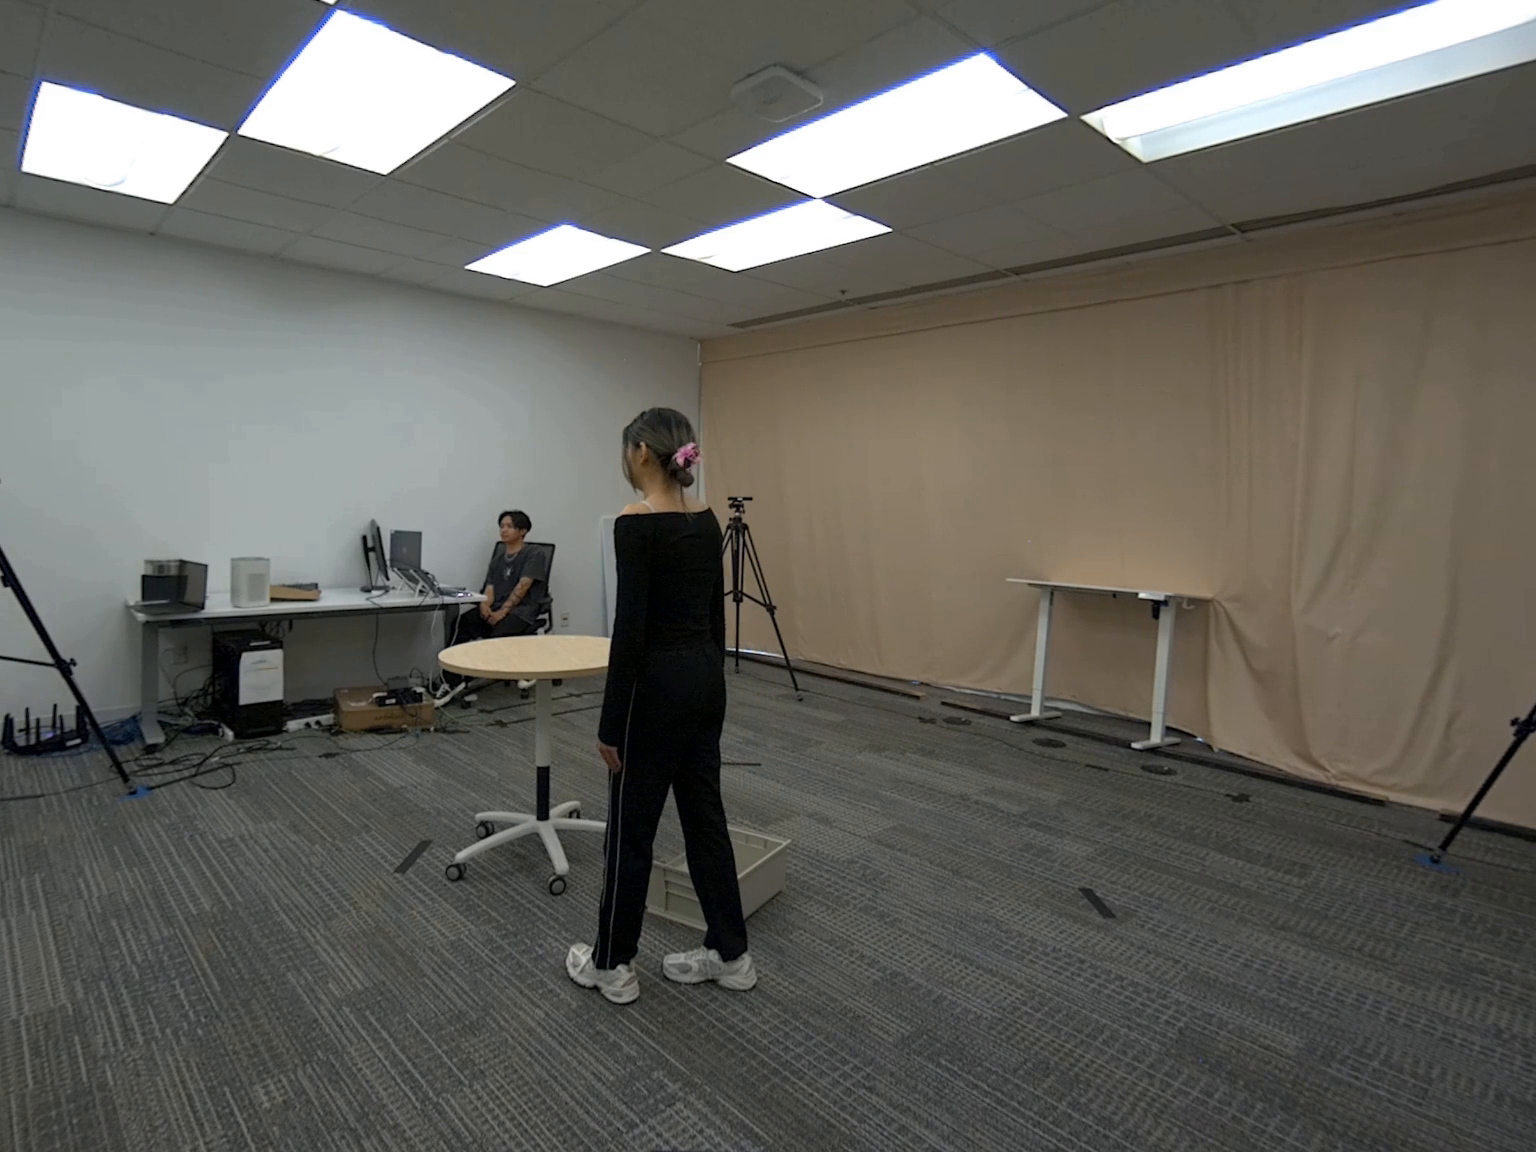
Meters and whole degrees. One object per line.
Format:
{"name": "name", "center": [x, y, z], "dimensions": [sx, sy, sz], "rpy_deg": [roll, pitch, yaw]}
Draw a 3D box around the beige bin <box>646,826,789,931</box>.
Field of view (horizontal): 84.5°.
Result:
{"name": "beige bin", "center": [-0.188, 1.035, 2.920], "dimensions": [0.386, 0.188, 0.414], "rpy_deg": [5, 6, 31]}
